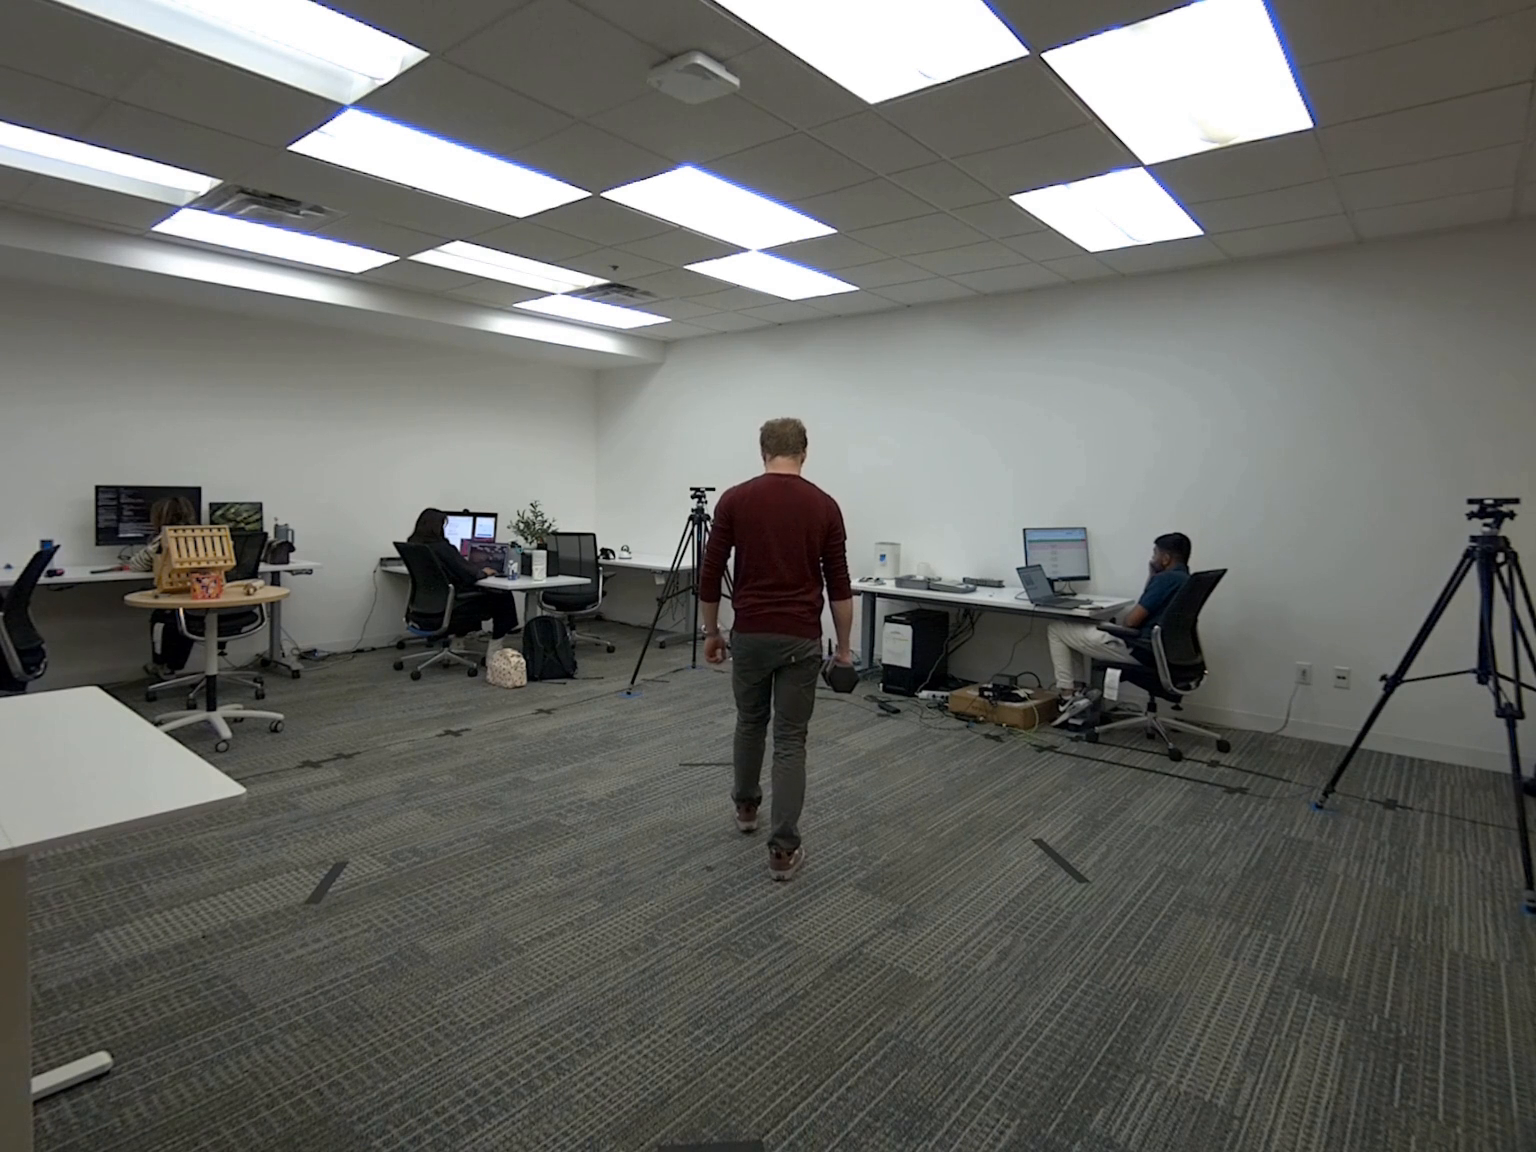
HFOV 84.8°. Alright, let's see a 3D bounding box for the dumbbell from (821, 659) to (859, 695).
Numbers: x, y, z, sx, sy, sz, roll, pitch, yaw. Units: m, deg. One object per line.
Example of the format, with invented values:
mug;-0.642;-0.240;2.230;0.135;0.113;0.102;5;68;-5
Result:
dumbbell;0.262;0.374;3.273;0.108;0.123;0.294;-28;2;-3
